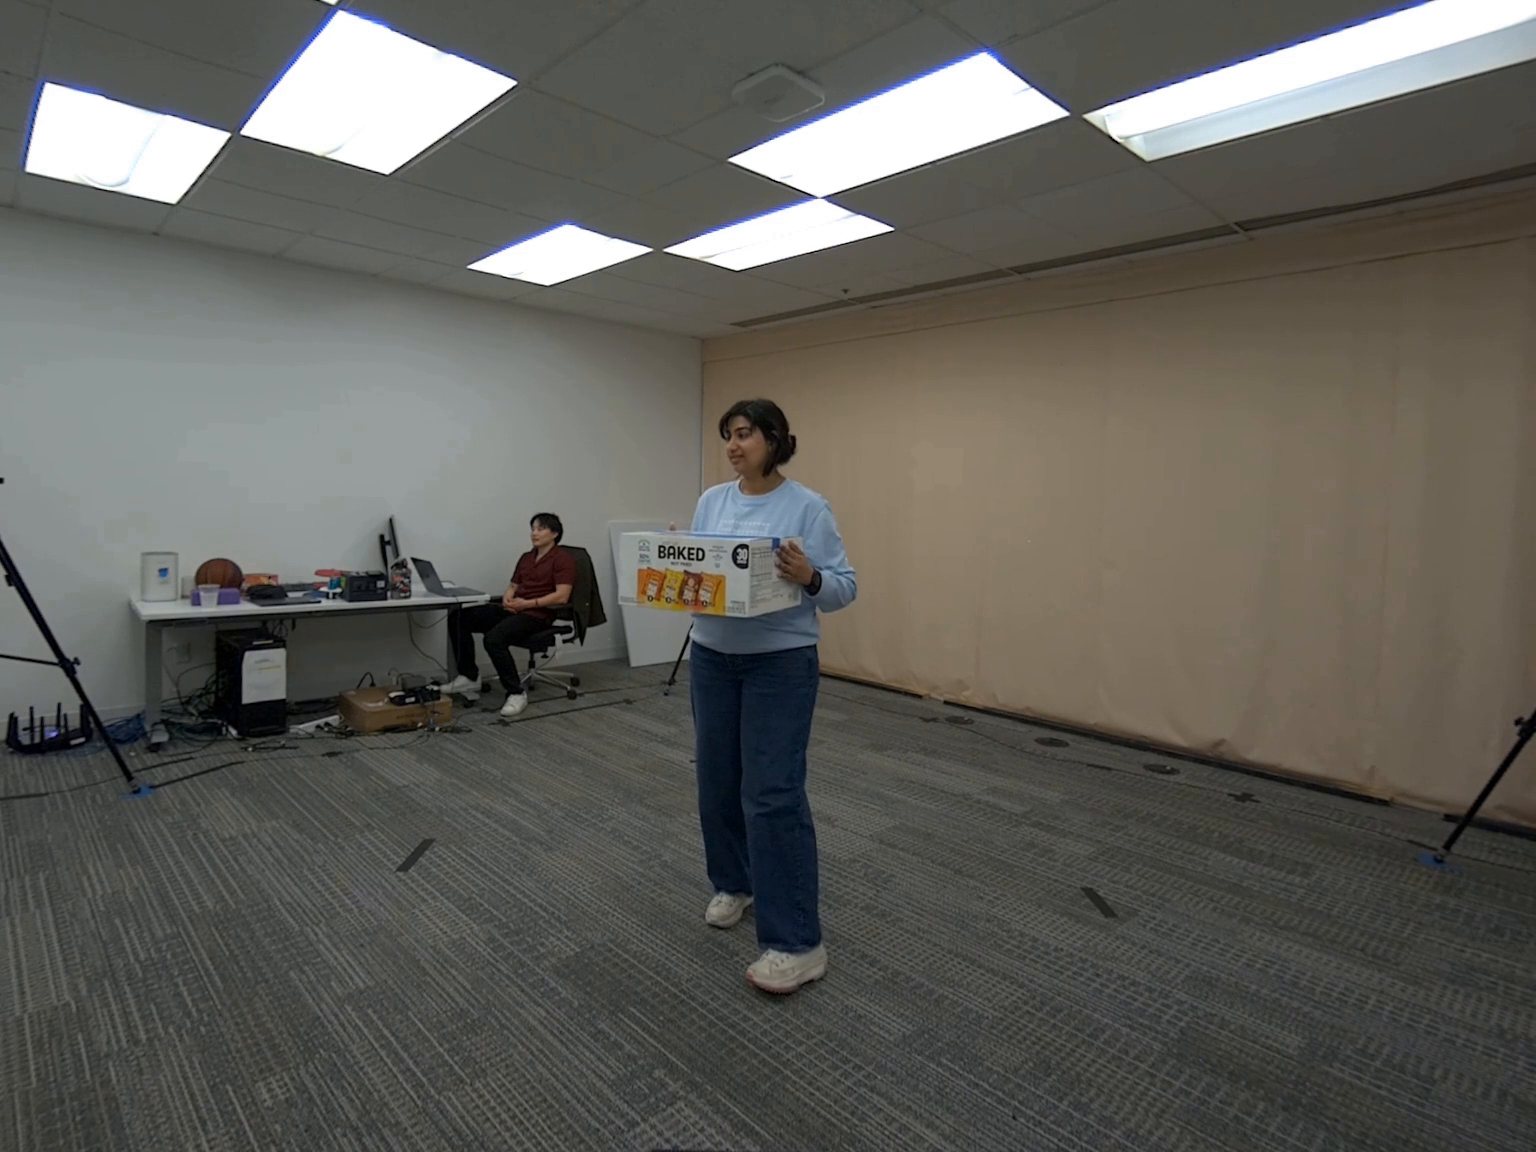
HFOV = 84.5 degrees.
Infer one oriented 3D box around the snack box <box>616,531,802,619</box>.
[{"bbox_3d":[-0.162,-0.015,2.391,0.413,0.205,0.334,4,5,27],"label":"snack box"}]
